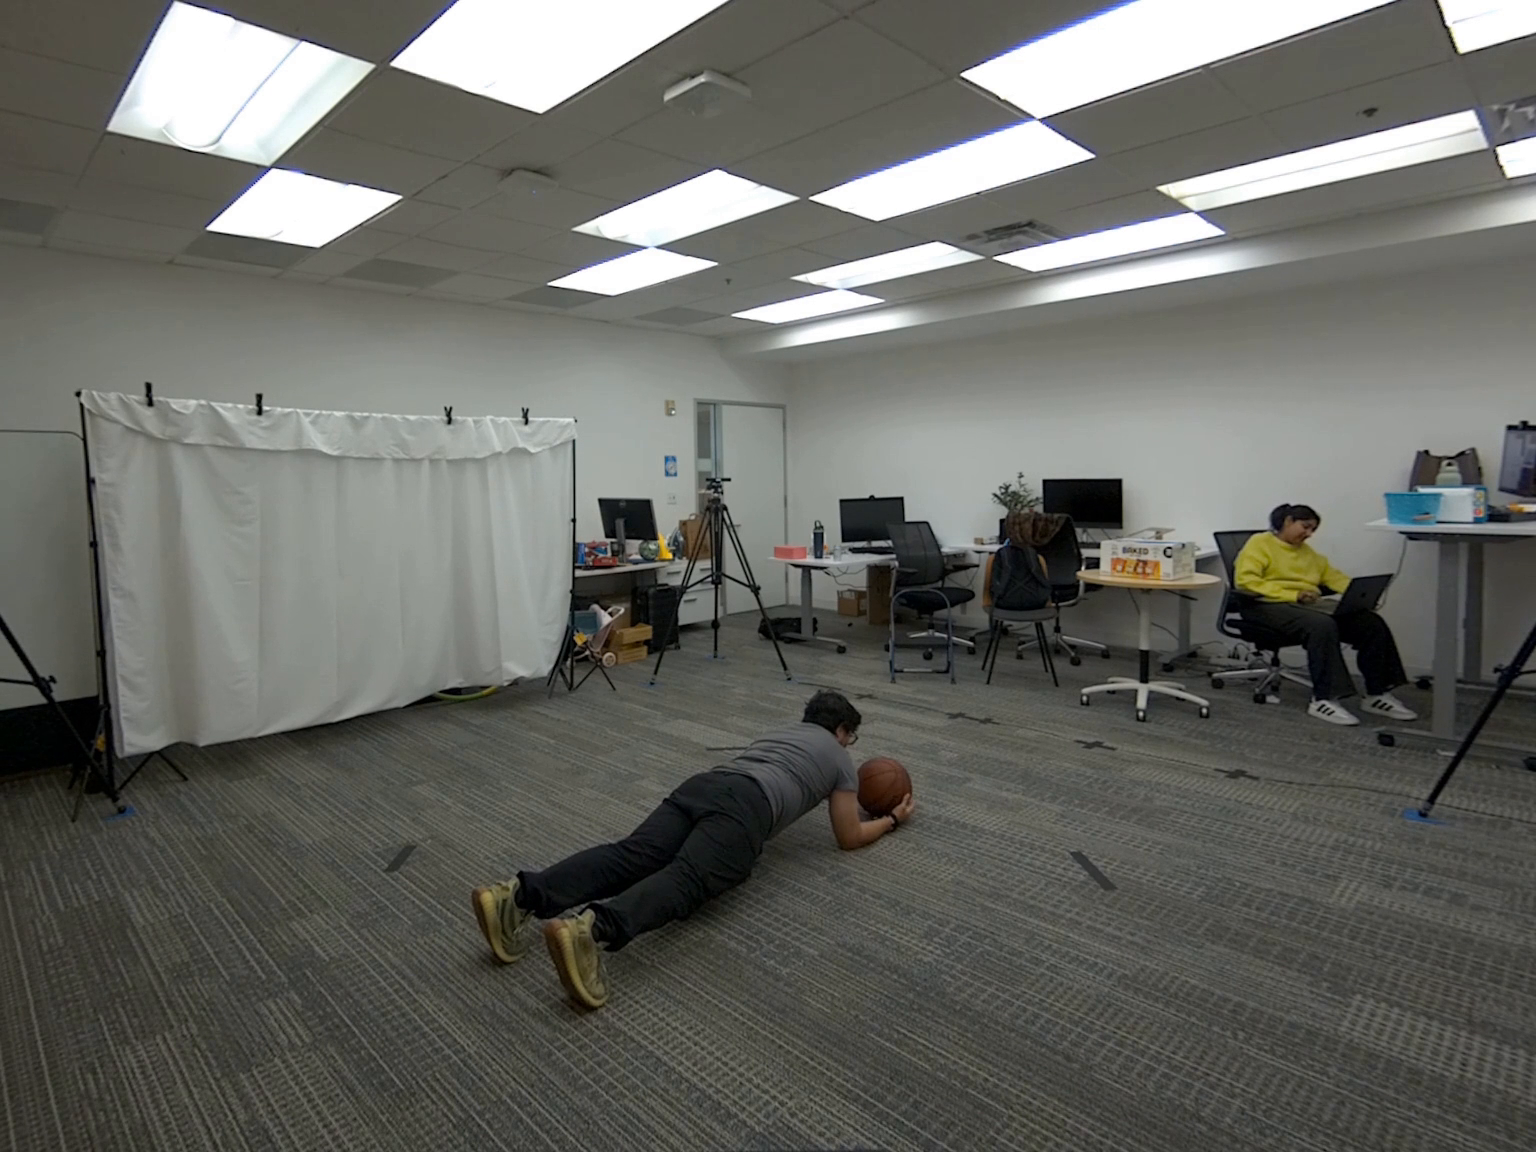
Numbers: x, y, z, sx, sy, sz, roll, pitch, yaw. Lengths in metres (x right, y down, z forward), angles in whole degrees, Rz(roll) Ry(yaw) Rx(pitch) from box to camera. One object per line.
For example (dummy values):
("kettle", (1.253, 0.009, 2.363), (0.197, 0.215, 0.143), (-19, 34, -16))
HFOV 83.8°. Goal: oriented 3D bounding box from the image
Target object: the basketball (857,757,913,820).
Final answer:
("basketball", (0.465, 0.863, 3.512), (0.236, 0.235, 0.237), (-1, 5, -2))
